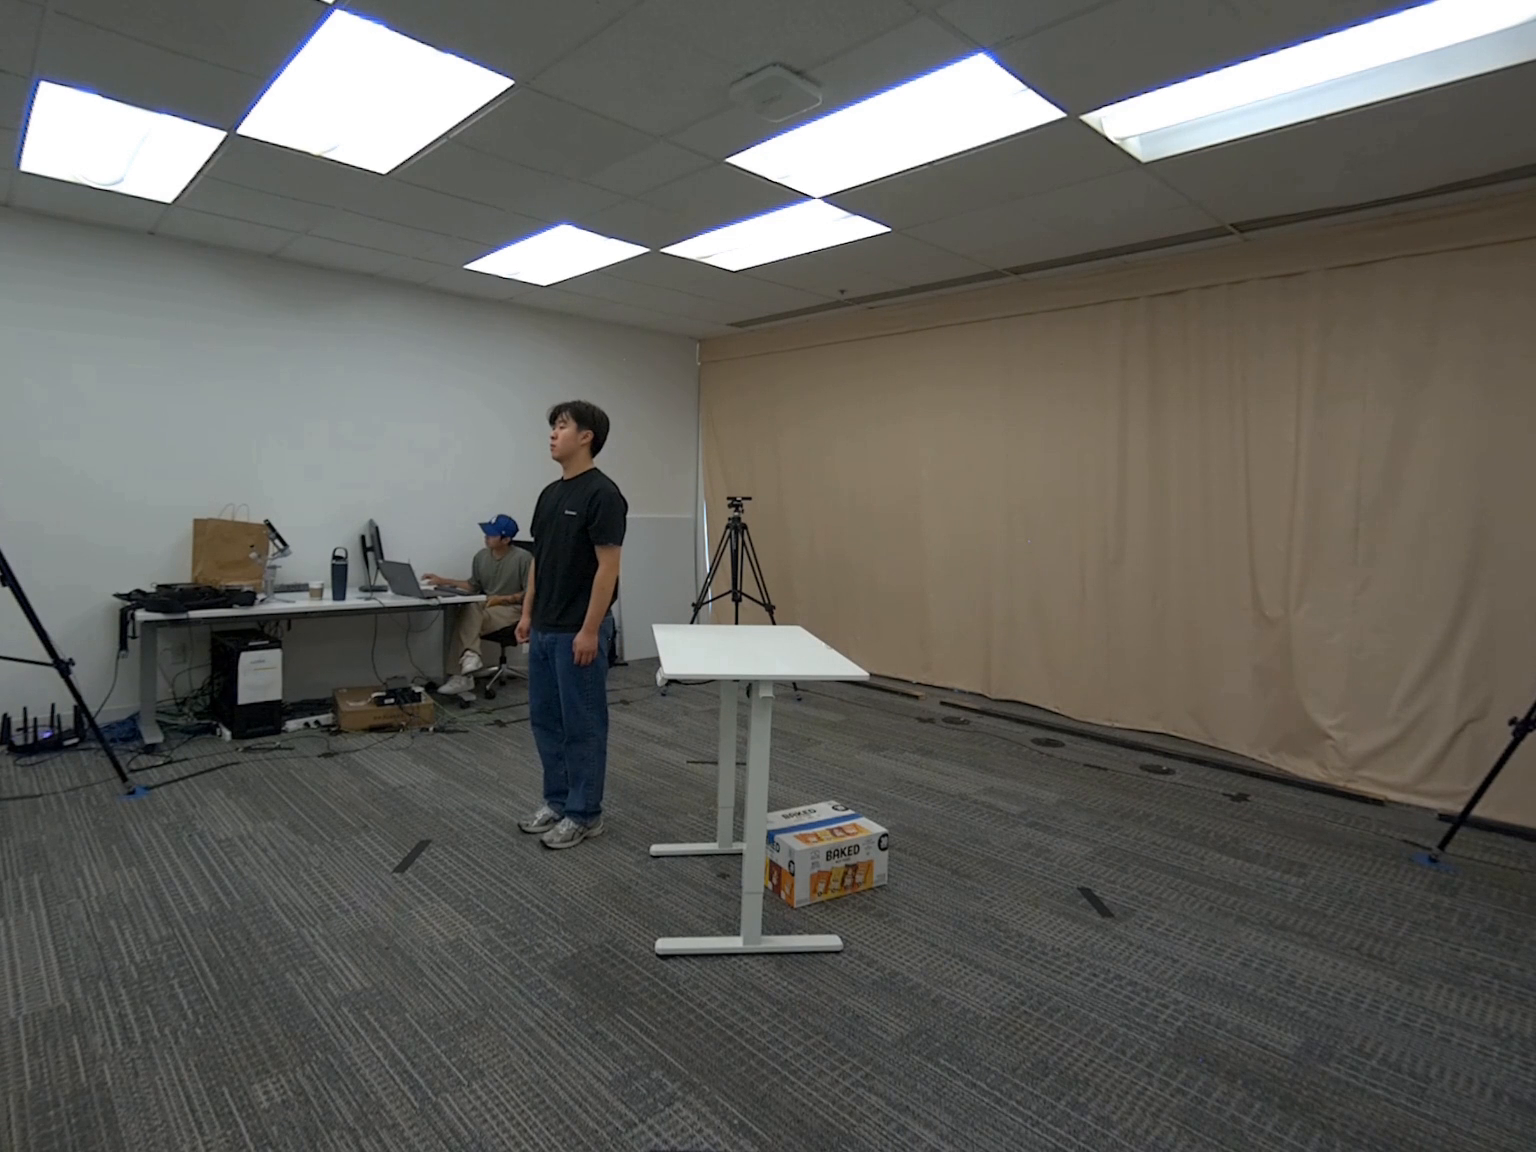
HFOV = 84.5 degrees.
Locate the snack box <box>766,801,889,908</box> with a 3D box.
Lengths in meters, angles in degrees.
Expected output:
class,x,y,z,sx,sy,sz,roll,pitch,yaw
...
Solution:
class,x,y,z,sx,sy,sz,roll,pitch,yaw
snack box,0.173,1.014,3.096,0.397,0.205,0.348,-2,5,-30
